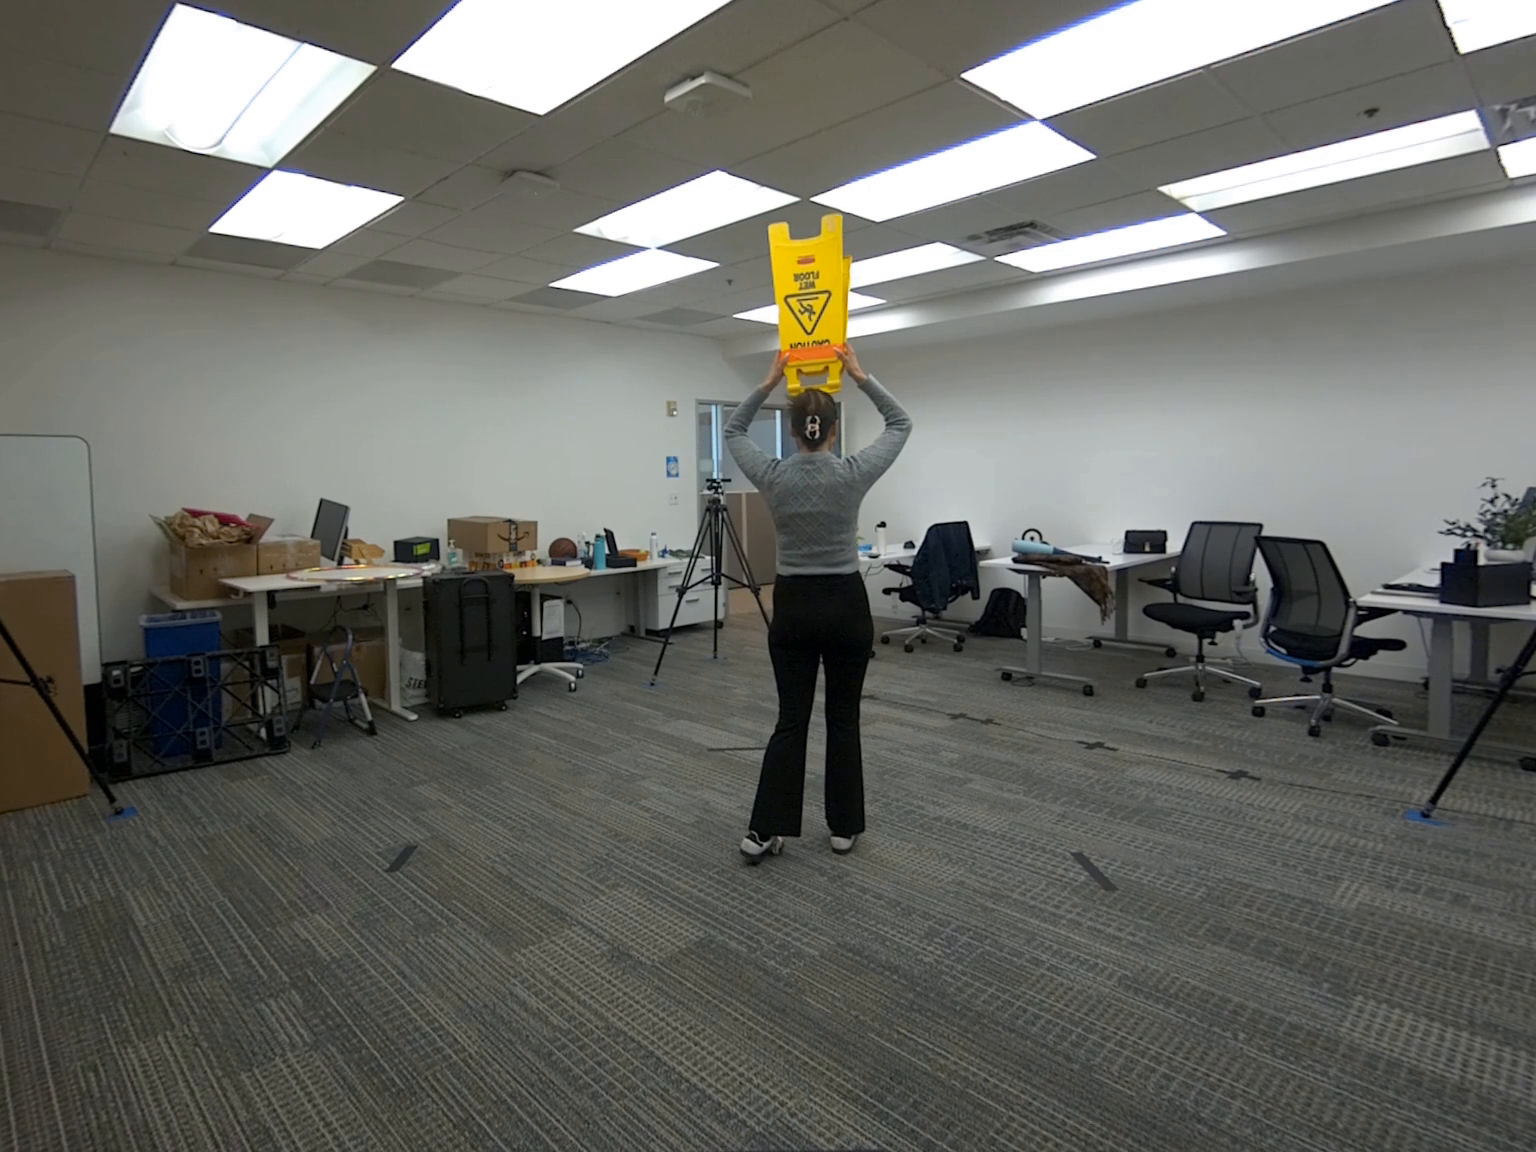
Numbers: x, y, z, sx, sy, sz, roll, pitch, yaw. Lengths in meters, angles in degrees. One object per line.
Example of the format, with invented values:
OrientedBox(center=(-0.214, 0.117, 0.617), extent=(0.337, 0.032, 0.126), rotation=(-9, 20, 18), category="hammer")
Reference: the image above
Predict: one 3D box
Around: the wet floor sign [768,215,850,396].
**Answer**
OrientedBox(center=(0.171, -0.988, 3.235), extent=(0.286, 0.655, 0.282), rotation=(-4, -15, 14), category="wet floor sign")
